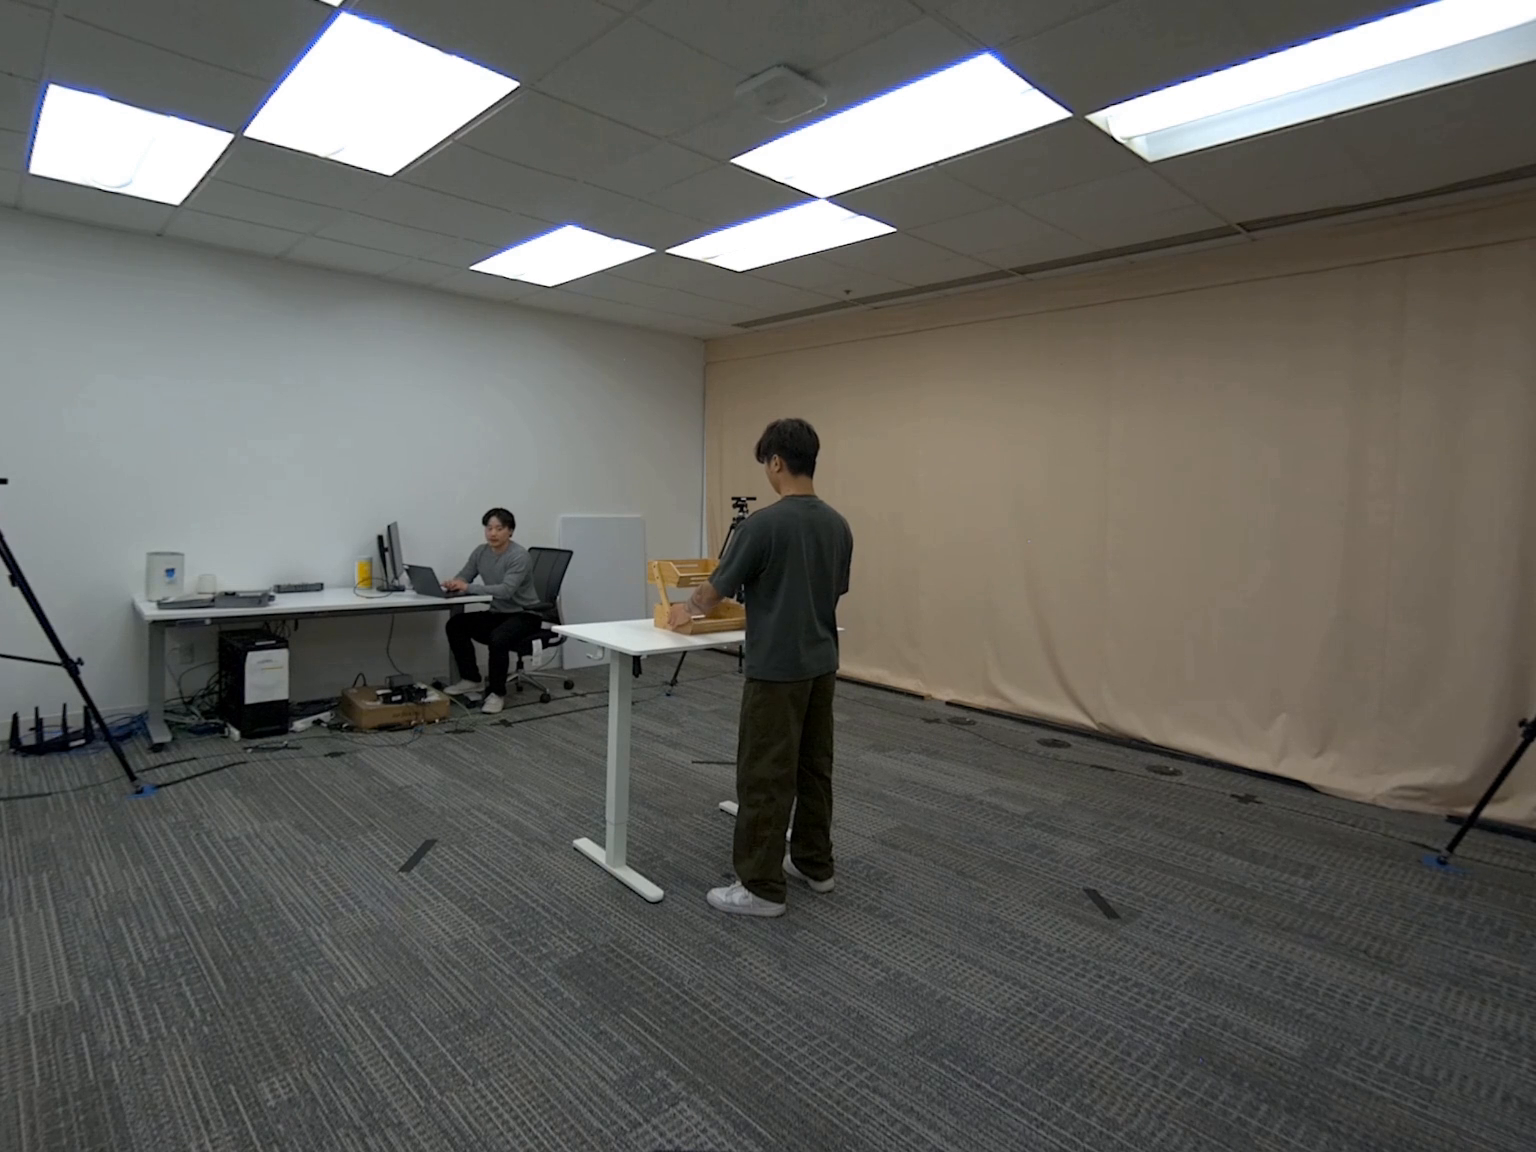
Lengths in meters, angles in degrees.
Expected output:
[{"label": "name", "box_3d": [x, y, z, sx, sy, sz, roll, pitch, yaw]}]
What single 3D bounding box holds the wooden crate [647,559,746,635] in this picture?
[{"label": "wooden crate", "box_3d": [-0.273, 0.069, 3.308, 0.317, 0.273, 0.310, -1, 5, -42]}]
